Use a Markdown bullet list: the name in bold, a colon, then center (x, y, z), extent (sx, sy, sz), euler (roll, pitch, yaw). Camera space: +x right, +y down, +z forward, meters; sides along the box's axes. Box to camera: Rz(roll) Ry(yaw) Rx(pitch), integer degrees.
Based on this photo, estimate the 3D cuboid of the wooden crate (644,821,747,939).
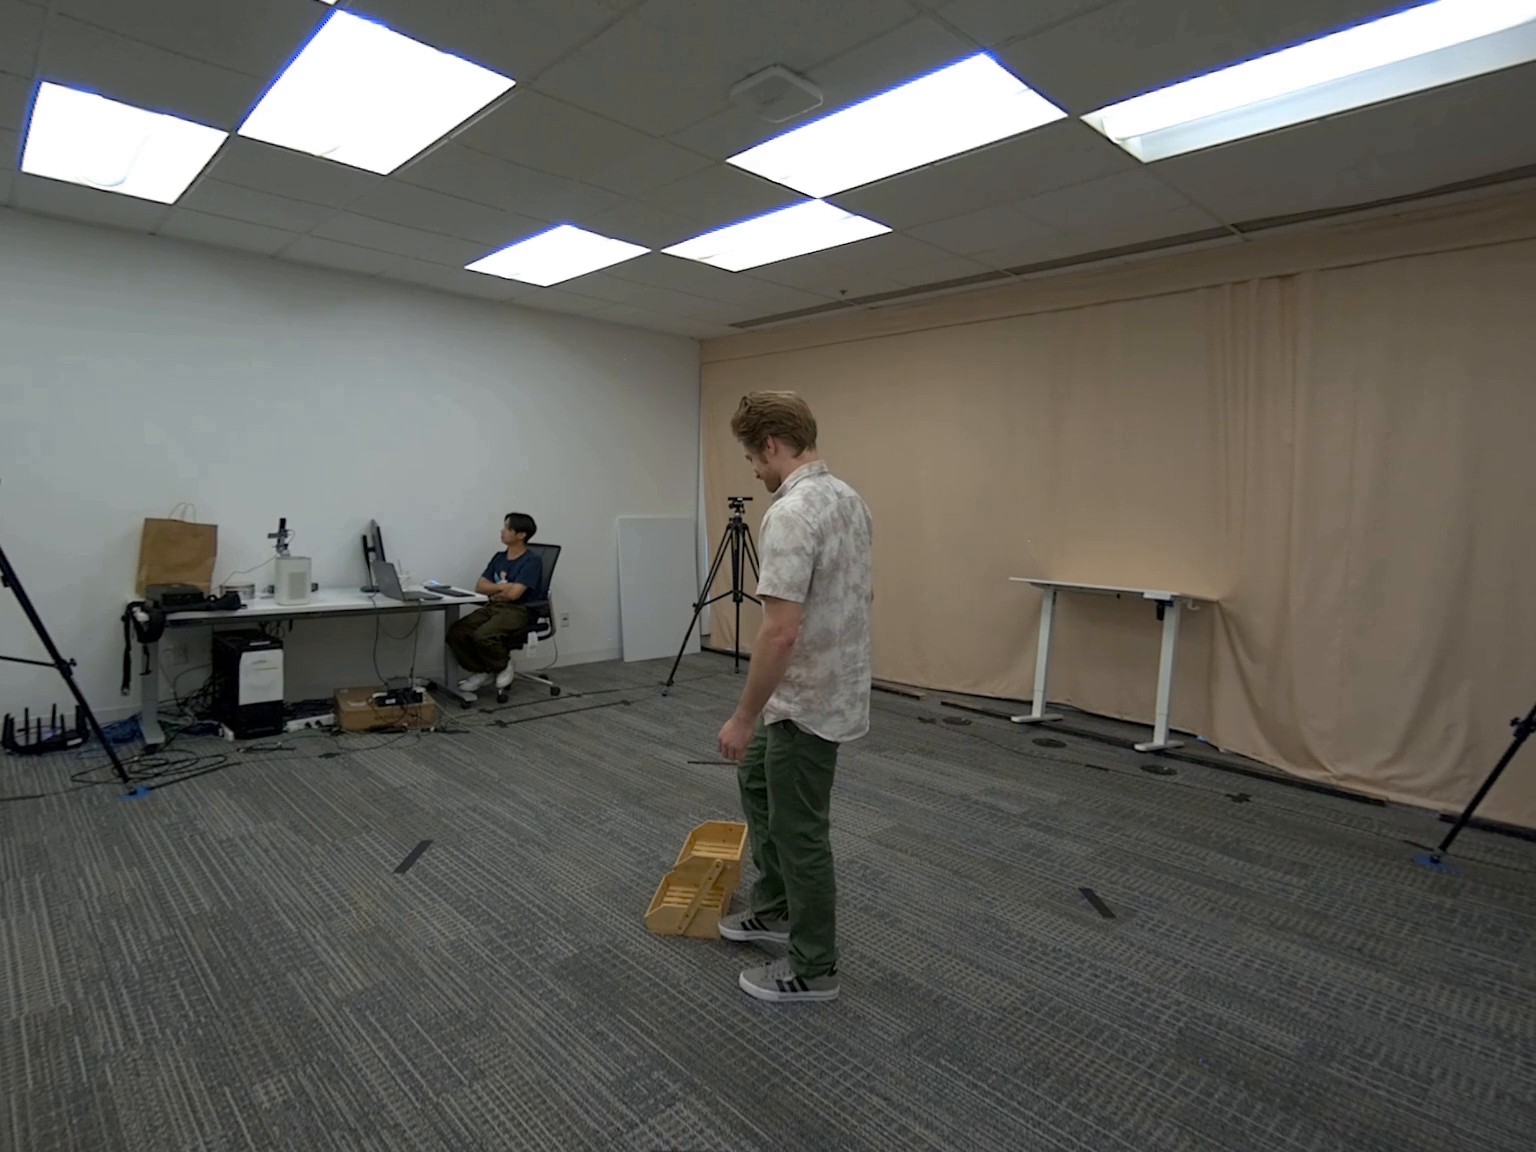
- **wooden crate**: center (-0.245, 0.999, 2.811), extent (0.304, 0.272, 0.323), euler (2, 4, 6)
